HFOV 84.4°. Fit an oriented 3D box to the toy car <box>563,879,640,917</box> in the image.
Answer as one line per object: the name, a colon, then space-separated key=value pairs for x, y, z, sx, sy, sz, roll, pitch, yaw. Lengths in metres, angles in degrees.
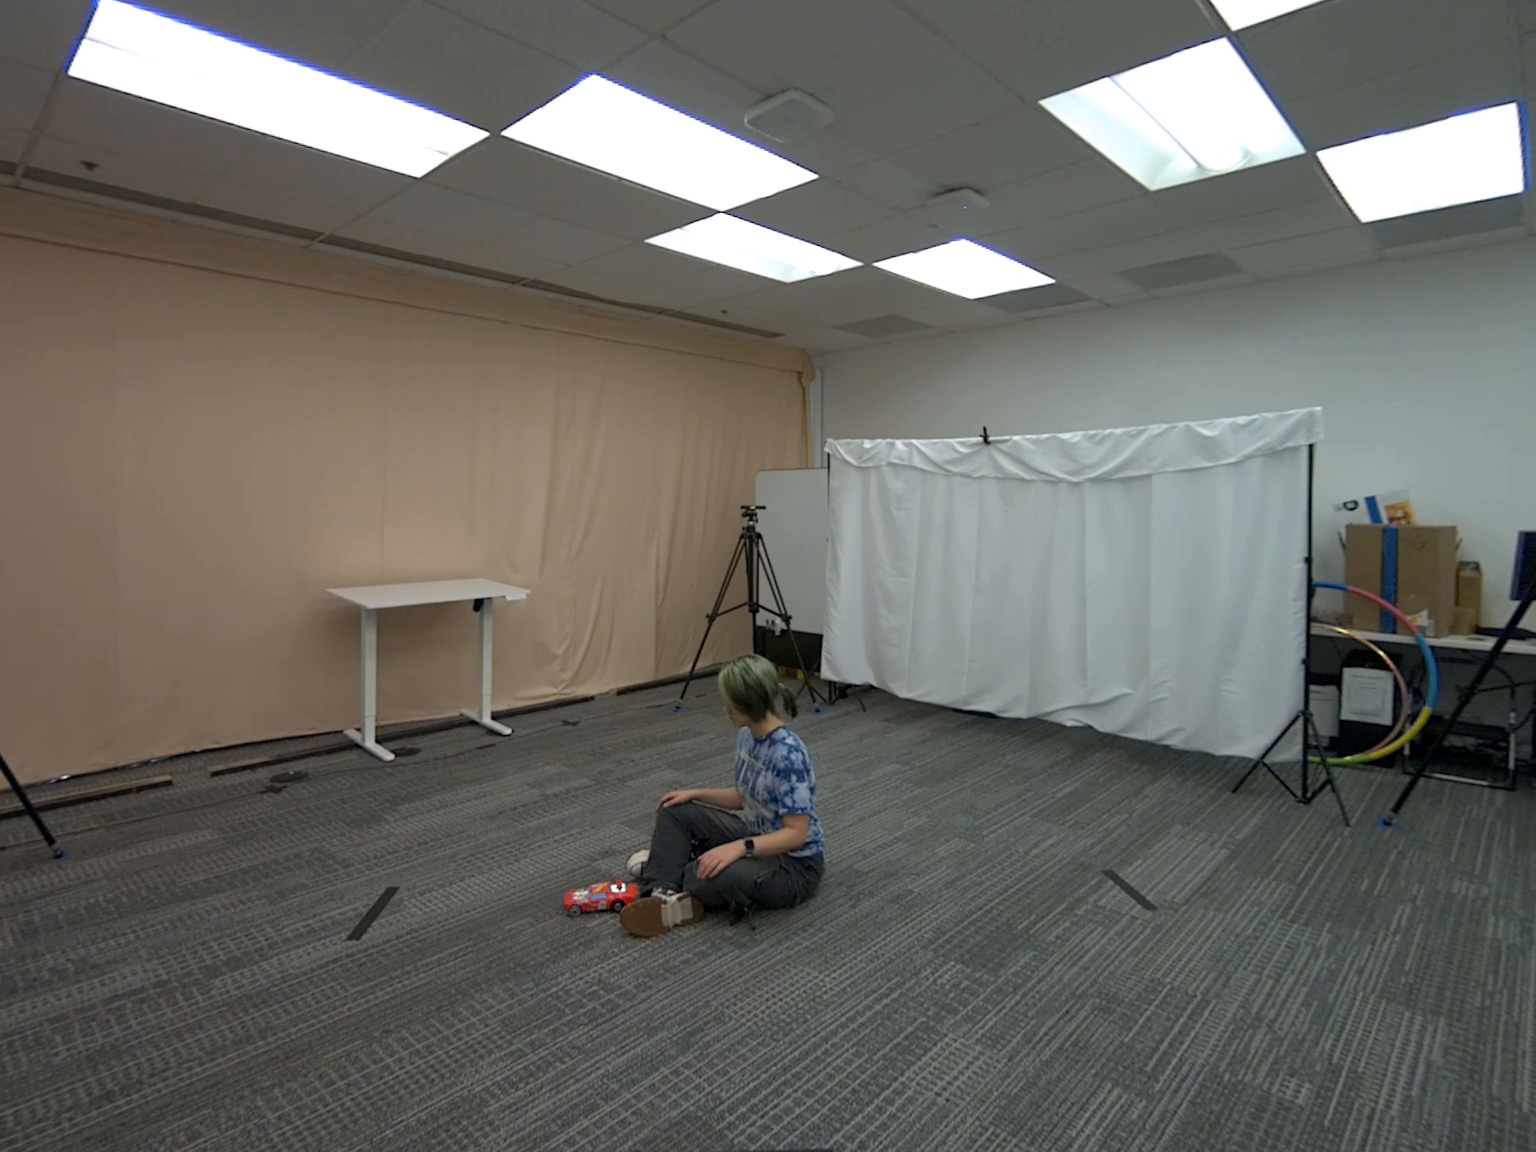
toy car: x=-0.578 y=1.123 z=2.932 sx=0.252 sy=0.083 sz=0.132 roll=-13 pitch=5 yaw=-10
